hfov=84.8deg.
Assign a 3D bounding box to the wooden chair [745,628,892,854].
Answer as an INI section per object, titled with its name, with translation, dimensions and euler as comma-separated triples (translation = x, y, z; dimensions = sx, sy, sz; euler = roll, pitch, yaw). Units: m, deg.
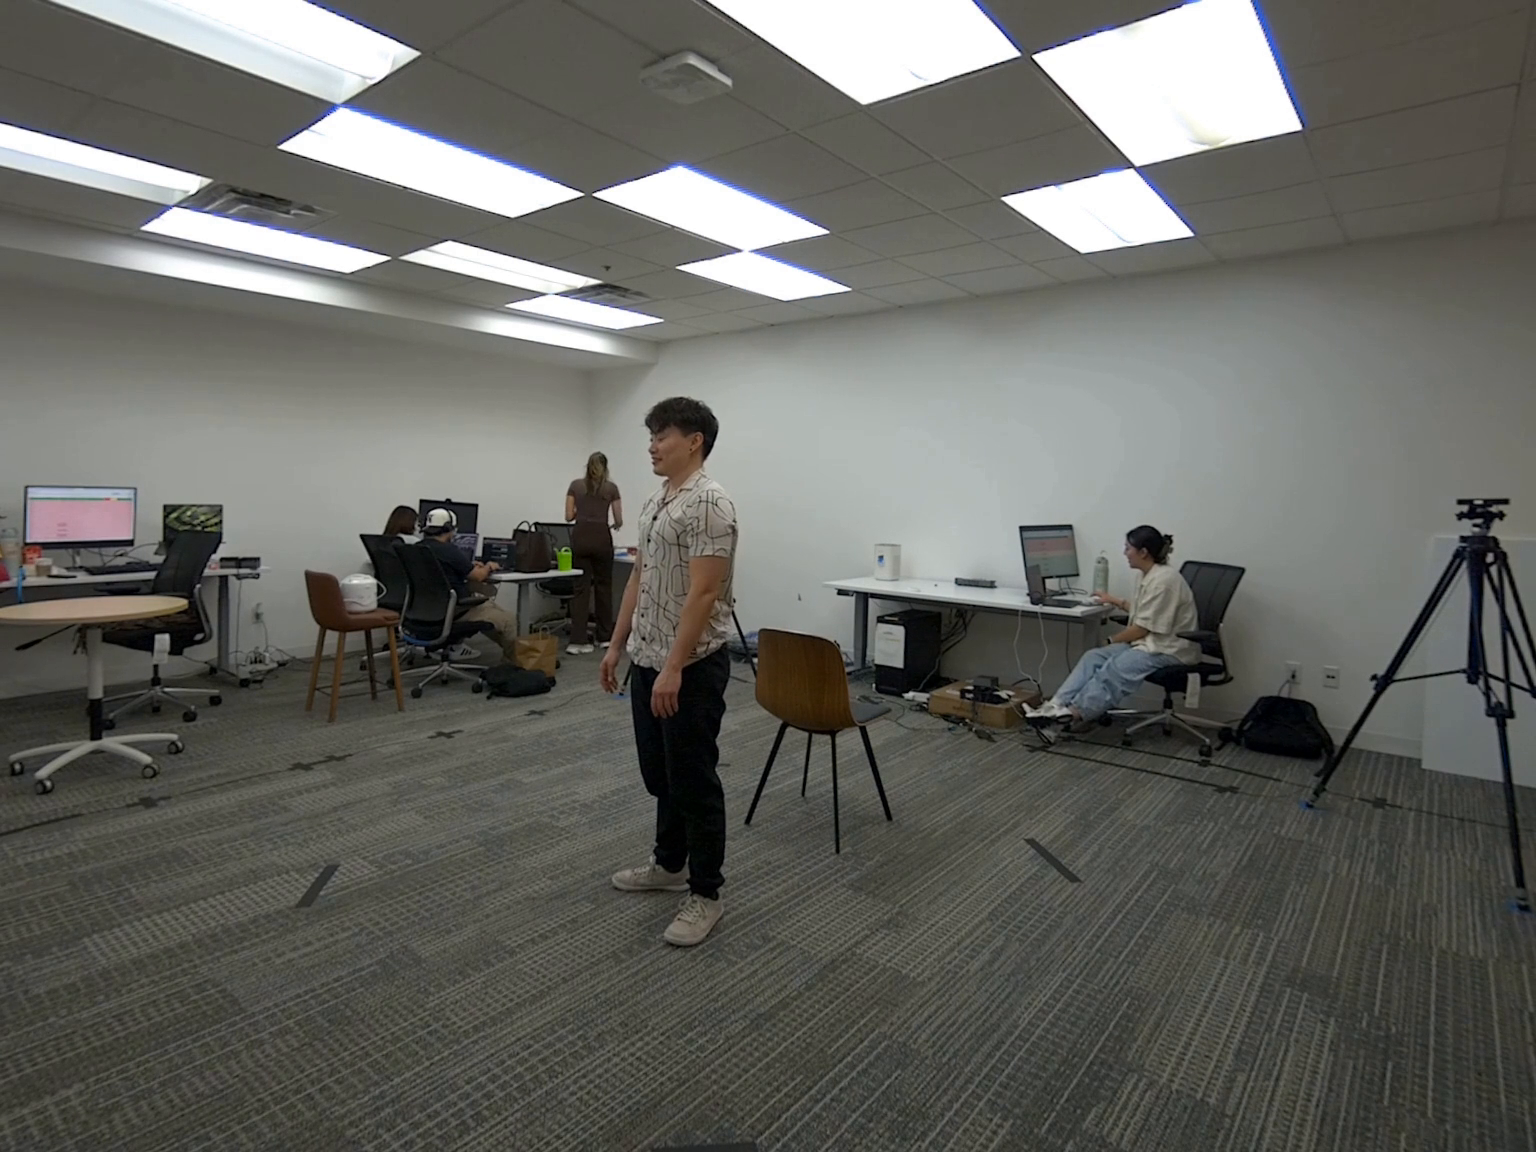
[wooden chair]
translation = 0.218, 0.606, 3.558
dimensions = 0.493, 0.872, 0.510
euler = 3, 8, 36
